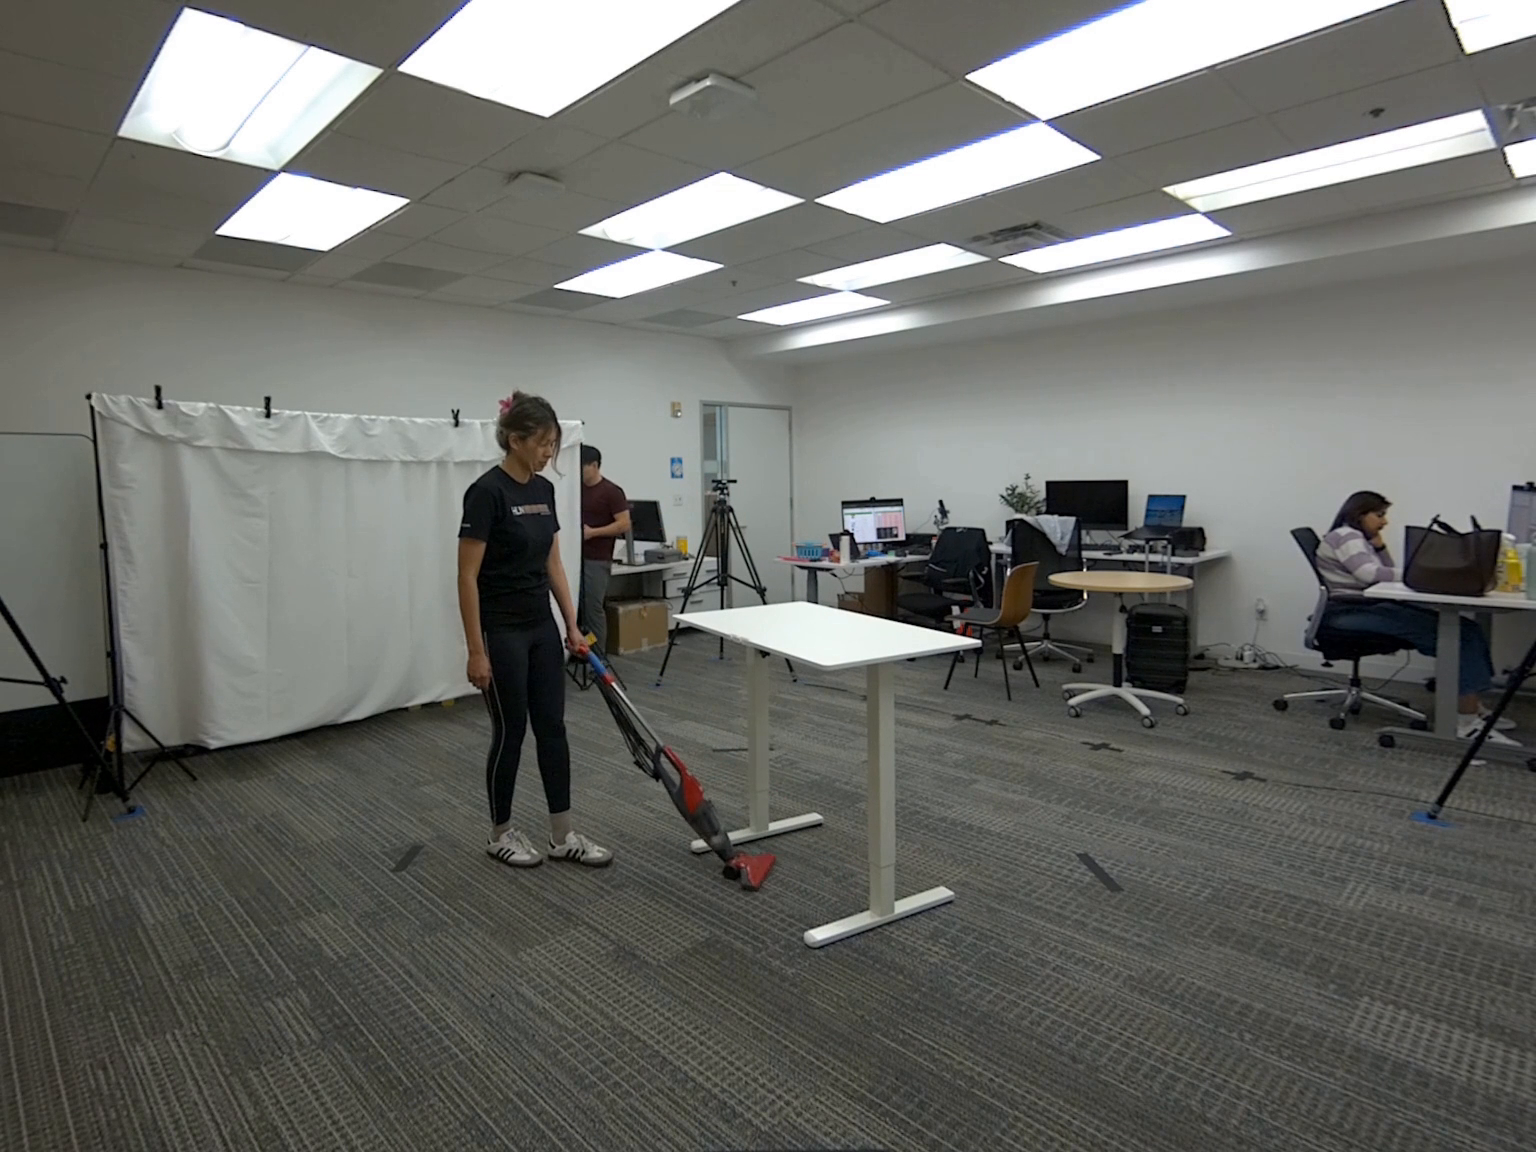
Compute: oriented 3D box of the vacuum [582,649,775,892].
[{"bbox_3d":[-0.404,0.654,3.117,0.144,1.065,0.249,-44,-11,10],"label":"vacuum"}]
